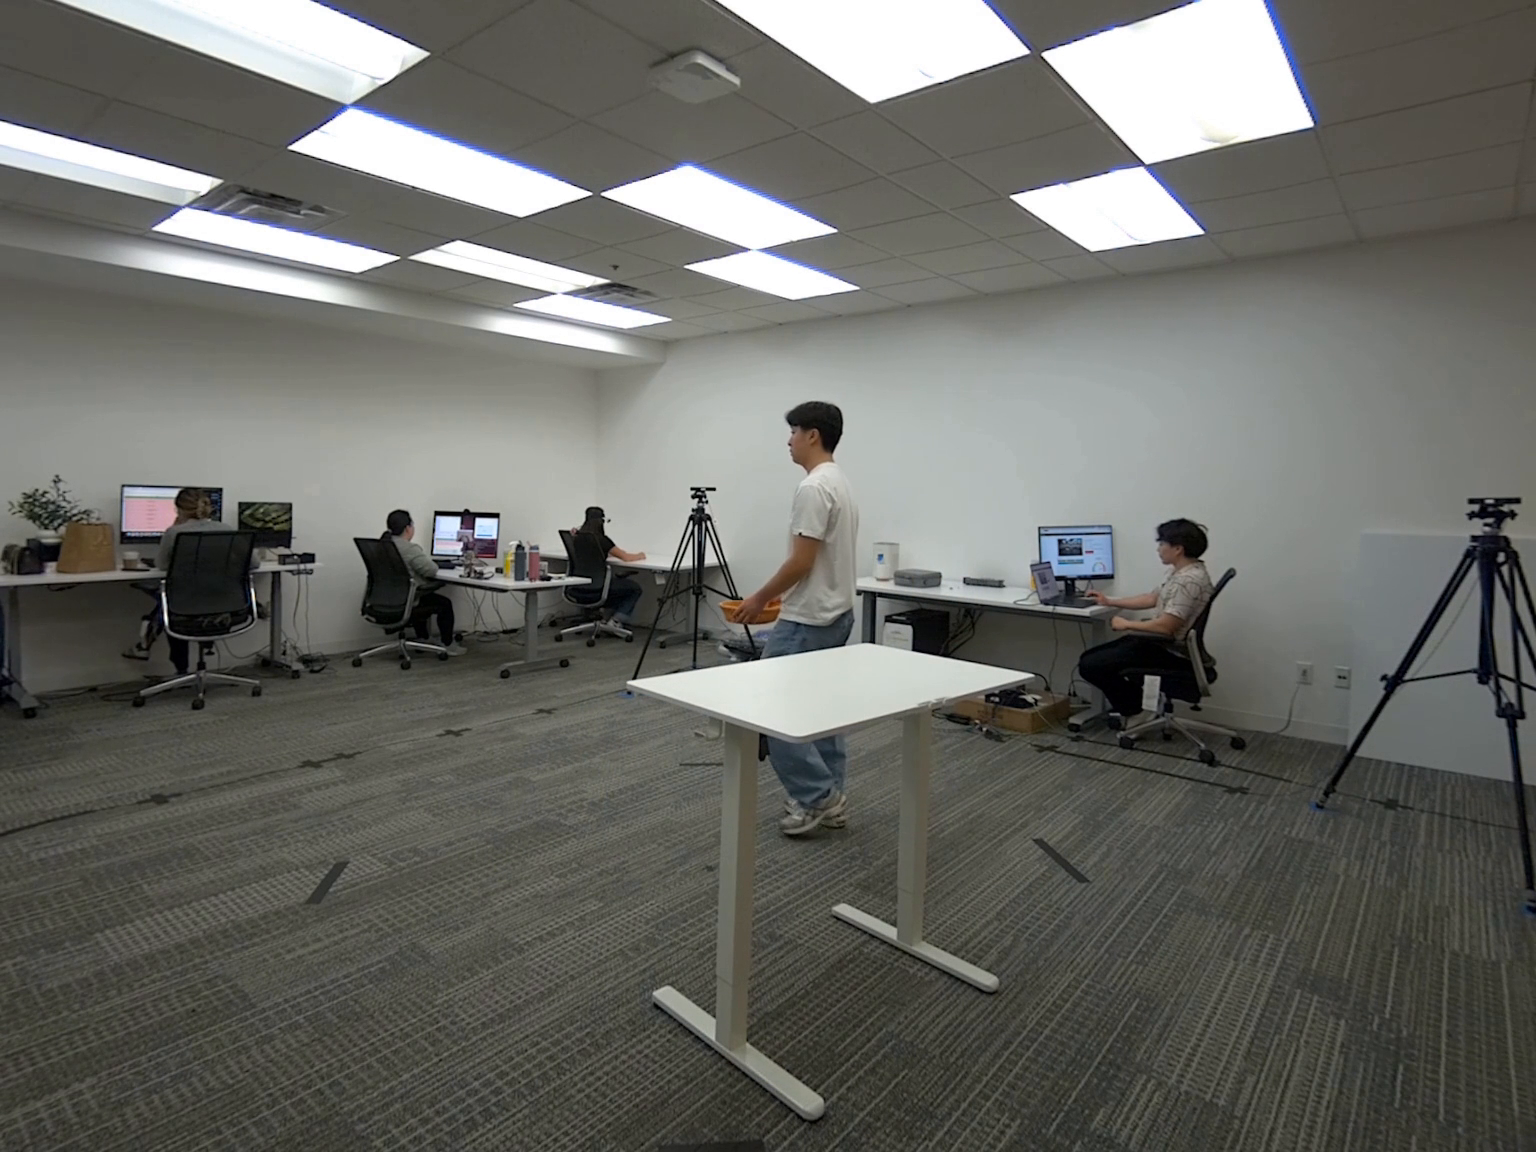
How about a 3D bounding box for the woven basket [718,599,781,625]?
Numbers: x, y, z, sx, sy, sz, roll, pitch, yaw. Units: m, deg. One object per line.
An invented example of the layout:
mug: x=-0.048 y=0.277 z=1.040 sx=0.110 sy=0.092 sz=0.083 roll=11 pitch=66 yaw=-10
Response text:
woven basket: x=-0.053 y=0.153 z=3.633 sx=0.261 sy=0.073 sz=0.339 roll=6 pitch=6 yaw=40
